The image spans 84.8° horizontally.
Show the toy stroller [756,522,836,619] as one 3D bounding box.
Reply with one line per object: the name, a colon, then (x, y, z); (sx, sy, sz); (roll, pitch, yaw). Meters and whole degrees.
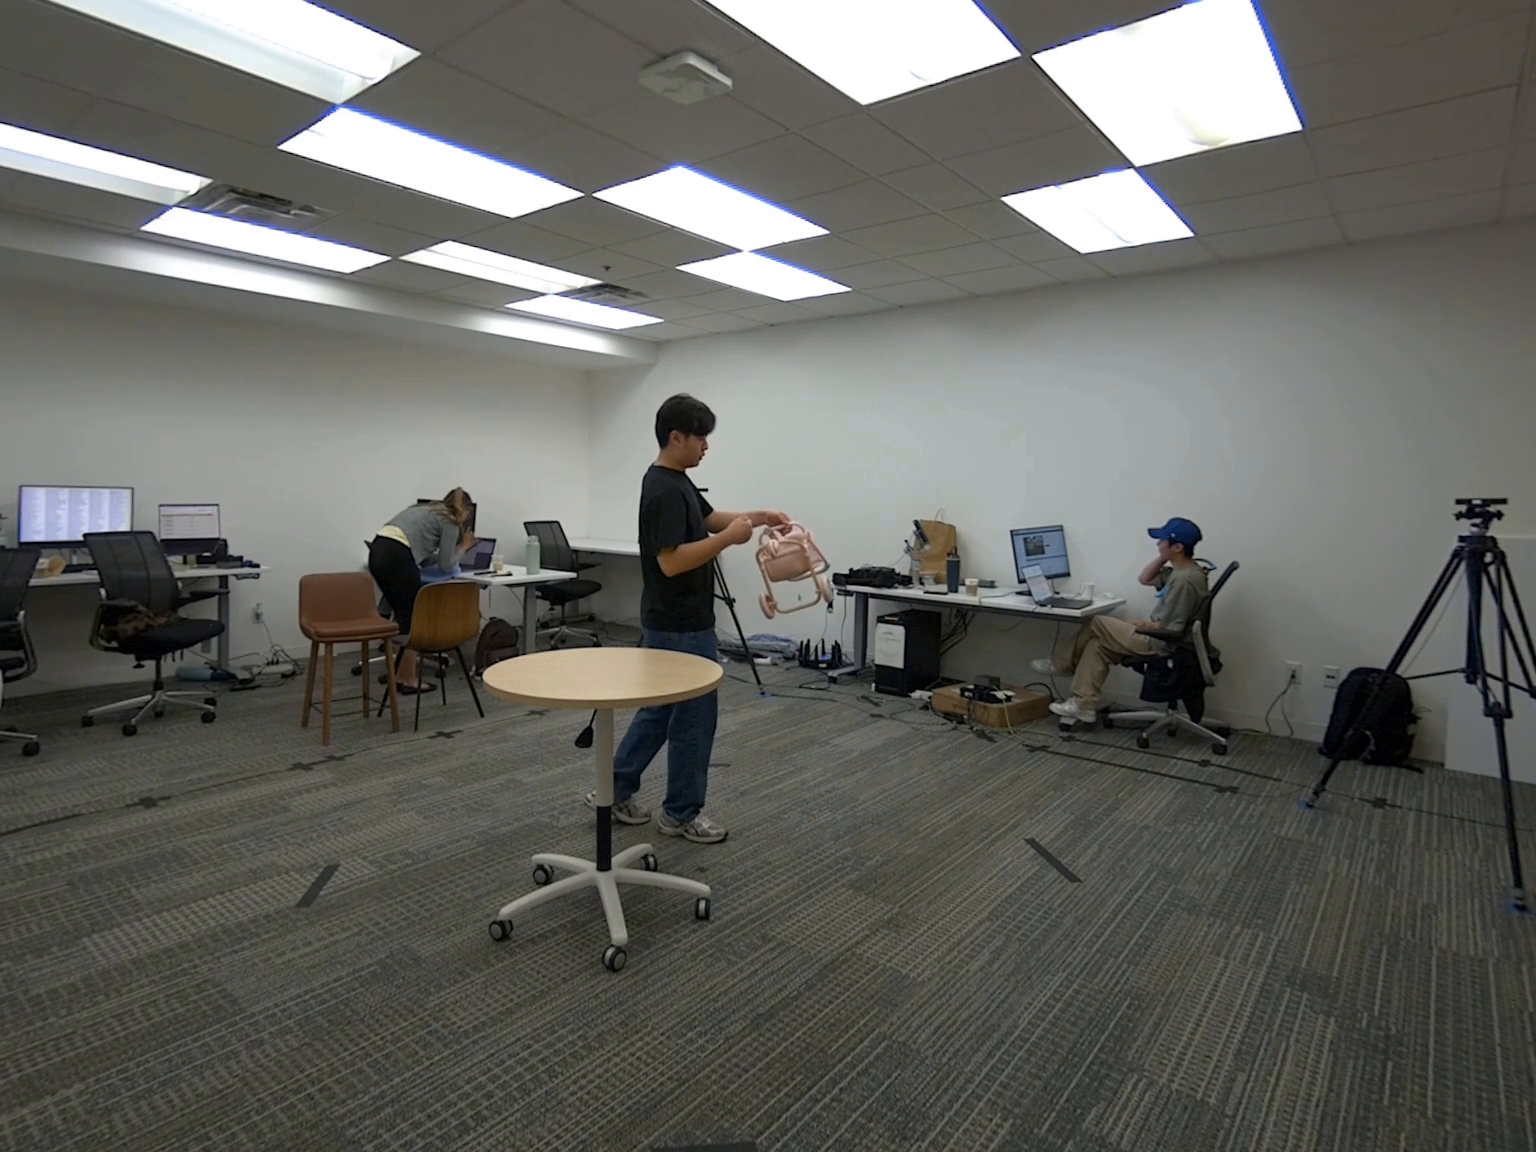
toy stroller: (0.074, -0.065, 3.452); (0.284, 0.335, 0.539); (-22, 16, 16)
